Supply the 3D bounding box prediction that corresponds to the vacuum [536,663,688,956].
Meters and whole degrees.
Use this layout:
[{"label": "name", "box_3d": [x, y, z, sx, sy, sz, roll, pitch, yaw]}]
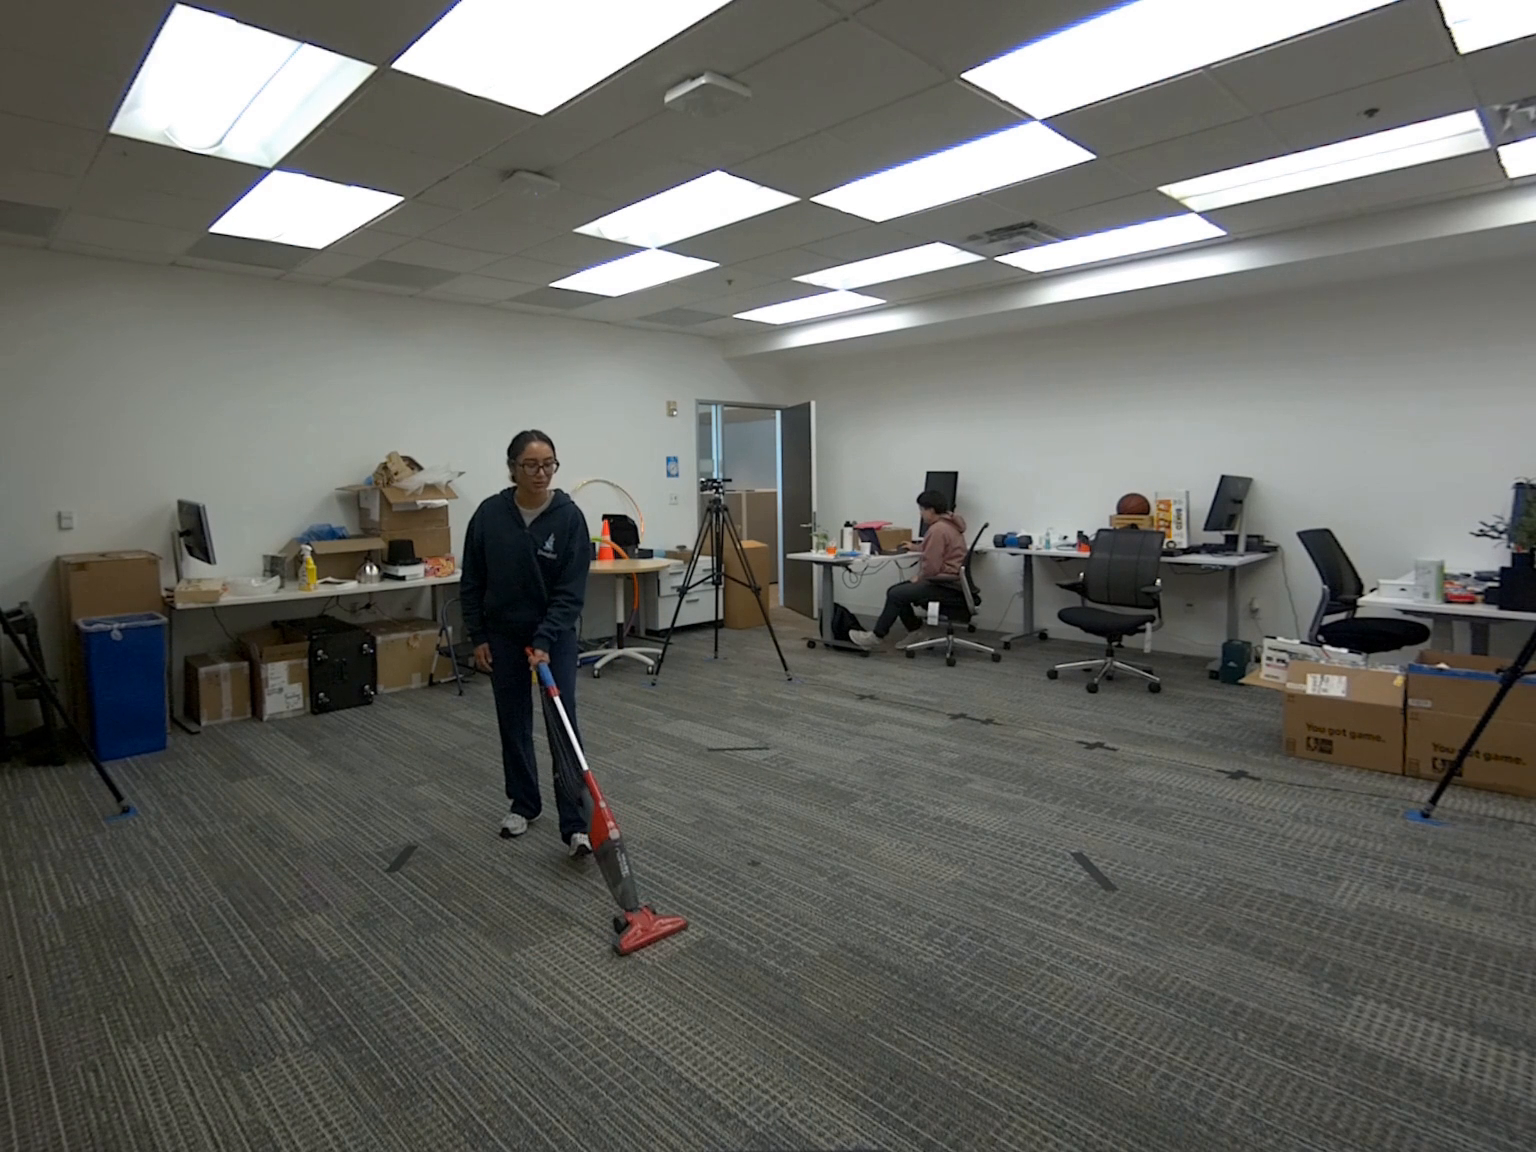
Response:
[{"label": "vacuum", "box_3d": [-0.608, 0.696, 2.888, 0.245, 1.084, 0.143, -2, -40, -41]}]
